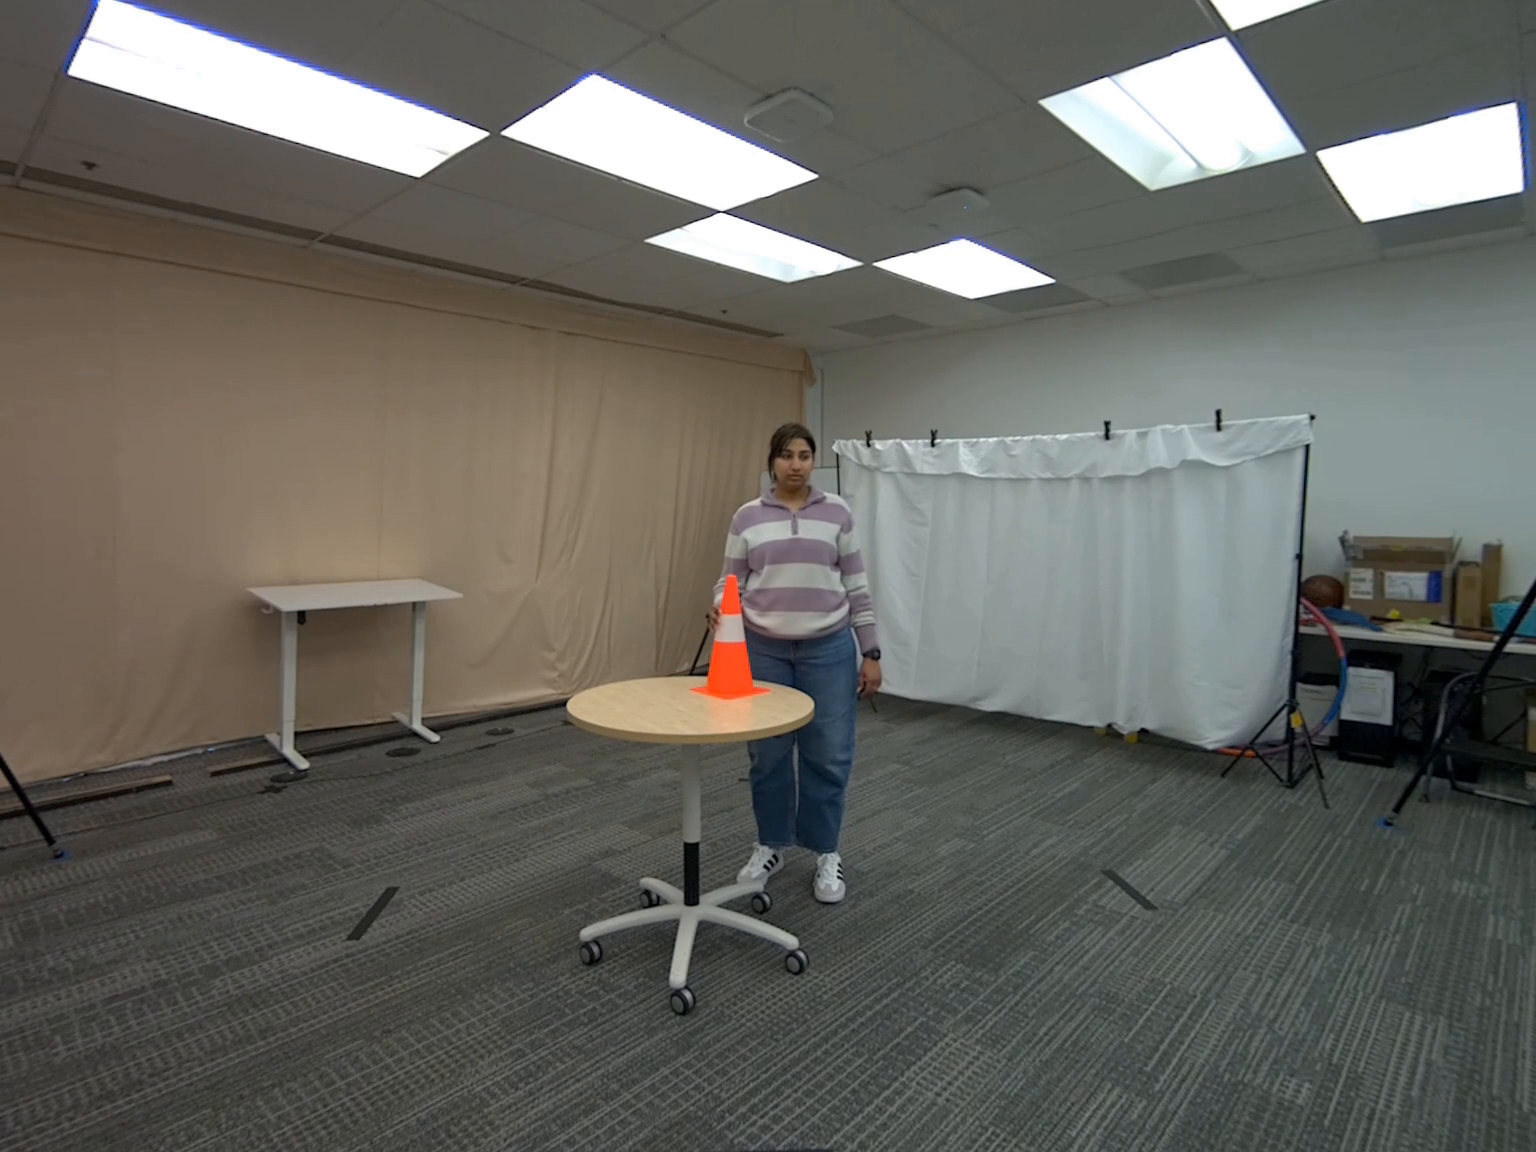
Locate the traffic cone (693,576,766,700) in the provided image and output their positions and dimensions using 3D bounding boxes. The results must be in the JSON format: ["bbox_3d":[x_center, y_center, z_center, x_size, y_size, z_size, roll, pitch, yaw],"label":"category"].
[{"bbox_3d":[-0.118,0.192,2.769,0.210,0.383,0.198,5,5,40],"label":"traffic cone"}]
